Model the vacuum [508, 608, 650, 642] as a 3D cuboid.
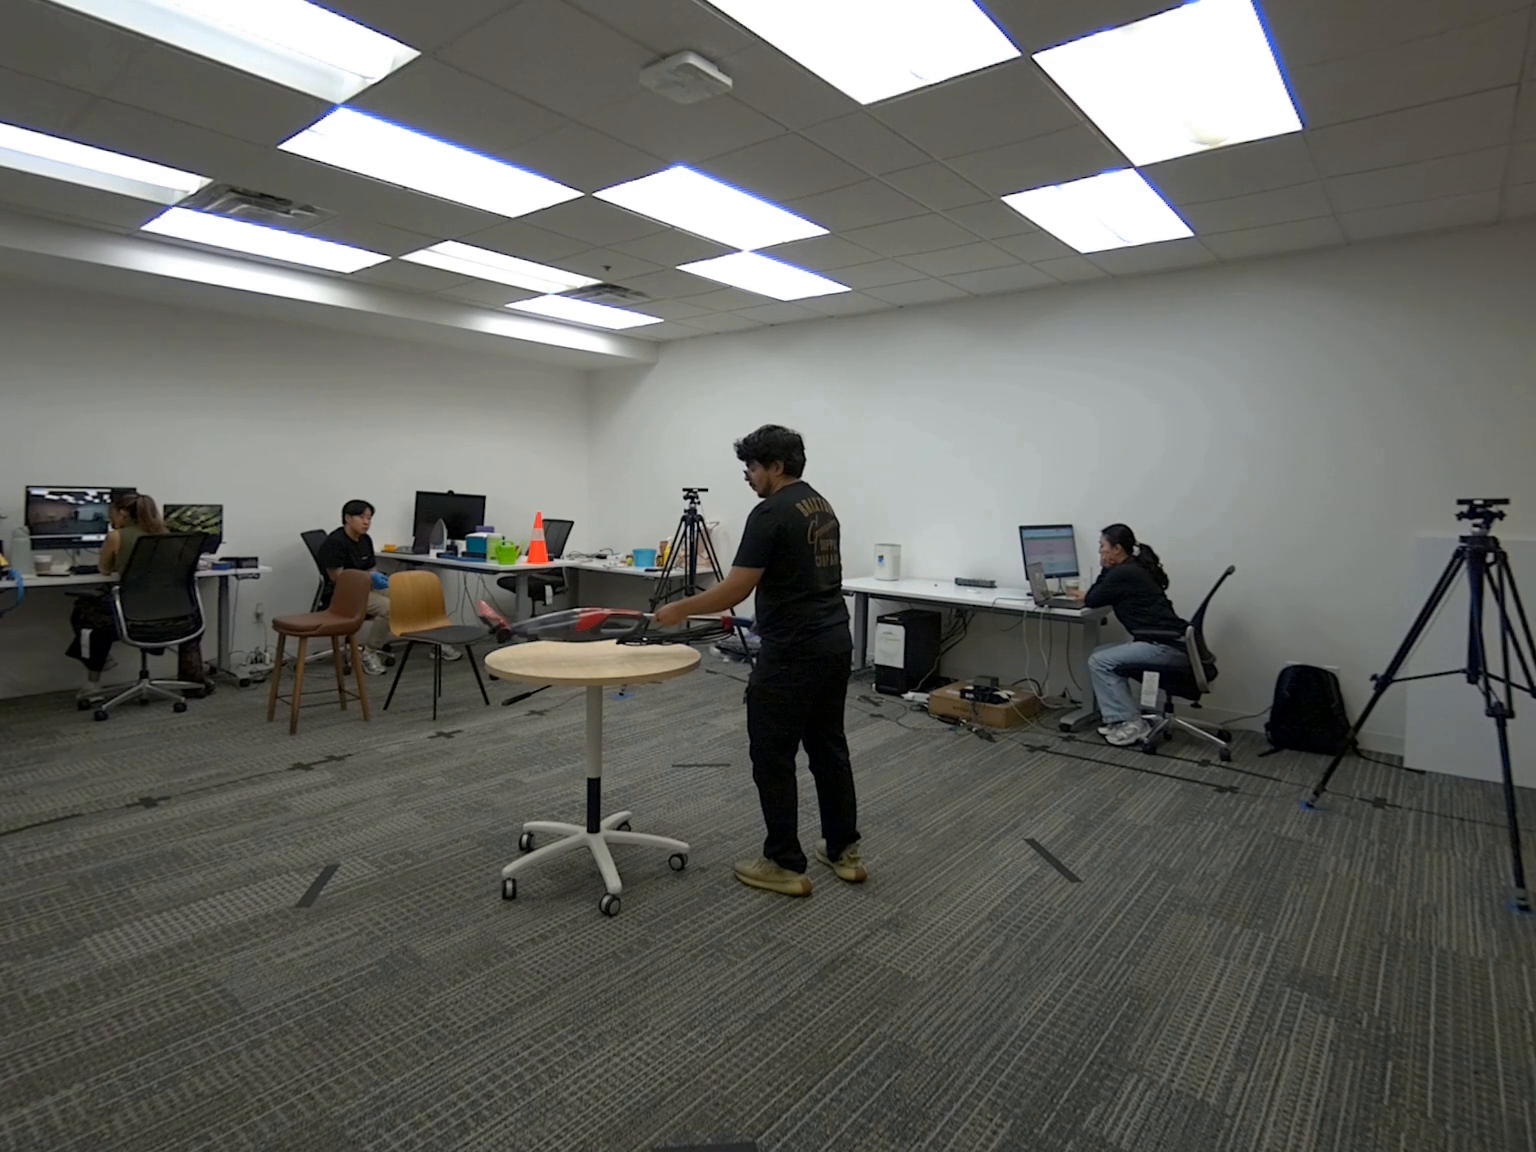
[{"bbox_3d":[-0.478,0.195,3.057,1.026,0.143,0.260,4,10,-20],"label":"vacuum"}]
